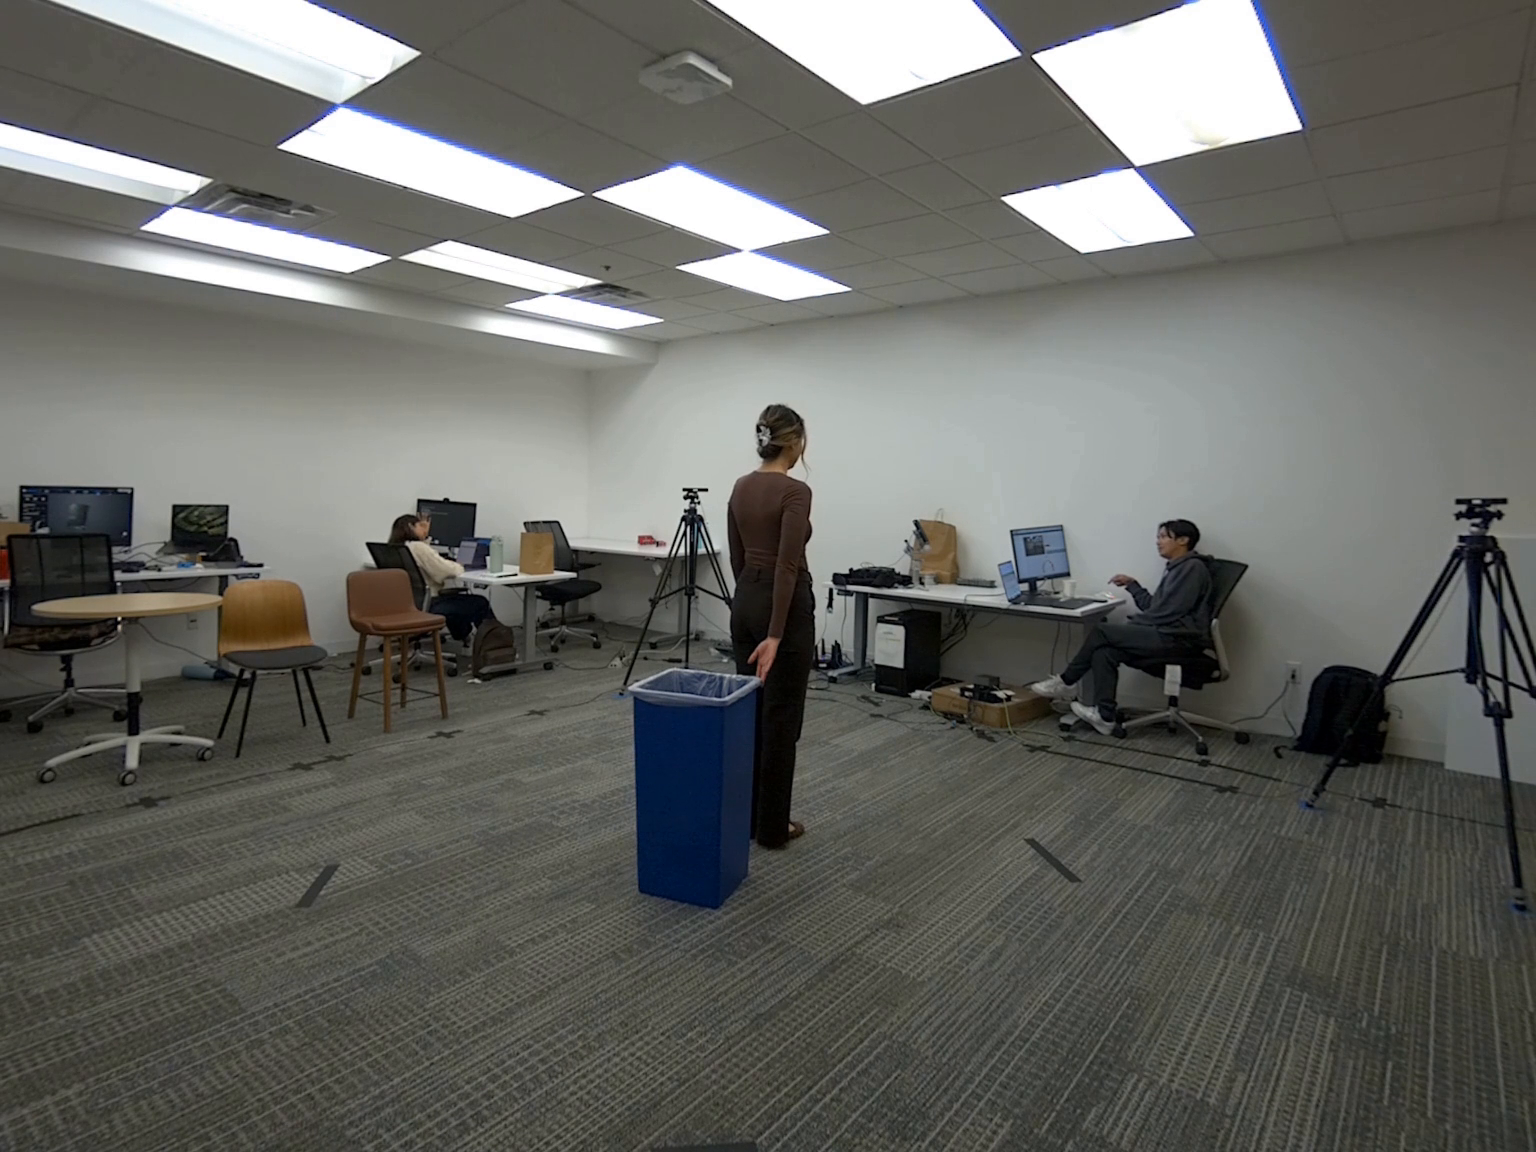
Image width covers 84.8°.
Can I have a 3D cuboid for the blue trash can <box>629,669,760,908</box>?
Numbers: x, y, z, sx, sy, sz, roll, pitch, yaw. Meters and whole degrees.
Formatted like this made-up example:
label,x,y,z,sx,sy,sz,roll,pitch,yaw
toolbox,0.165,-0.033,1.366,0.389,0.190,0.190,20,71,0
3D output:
label,x,y,z,sx,sy,sz,roll,pitch,yaw
blue trash can,-0.261,0.721,2.985,0.382,0.712,0.371,1,3,20
